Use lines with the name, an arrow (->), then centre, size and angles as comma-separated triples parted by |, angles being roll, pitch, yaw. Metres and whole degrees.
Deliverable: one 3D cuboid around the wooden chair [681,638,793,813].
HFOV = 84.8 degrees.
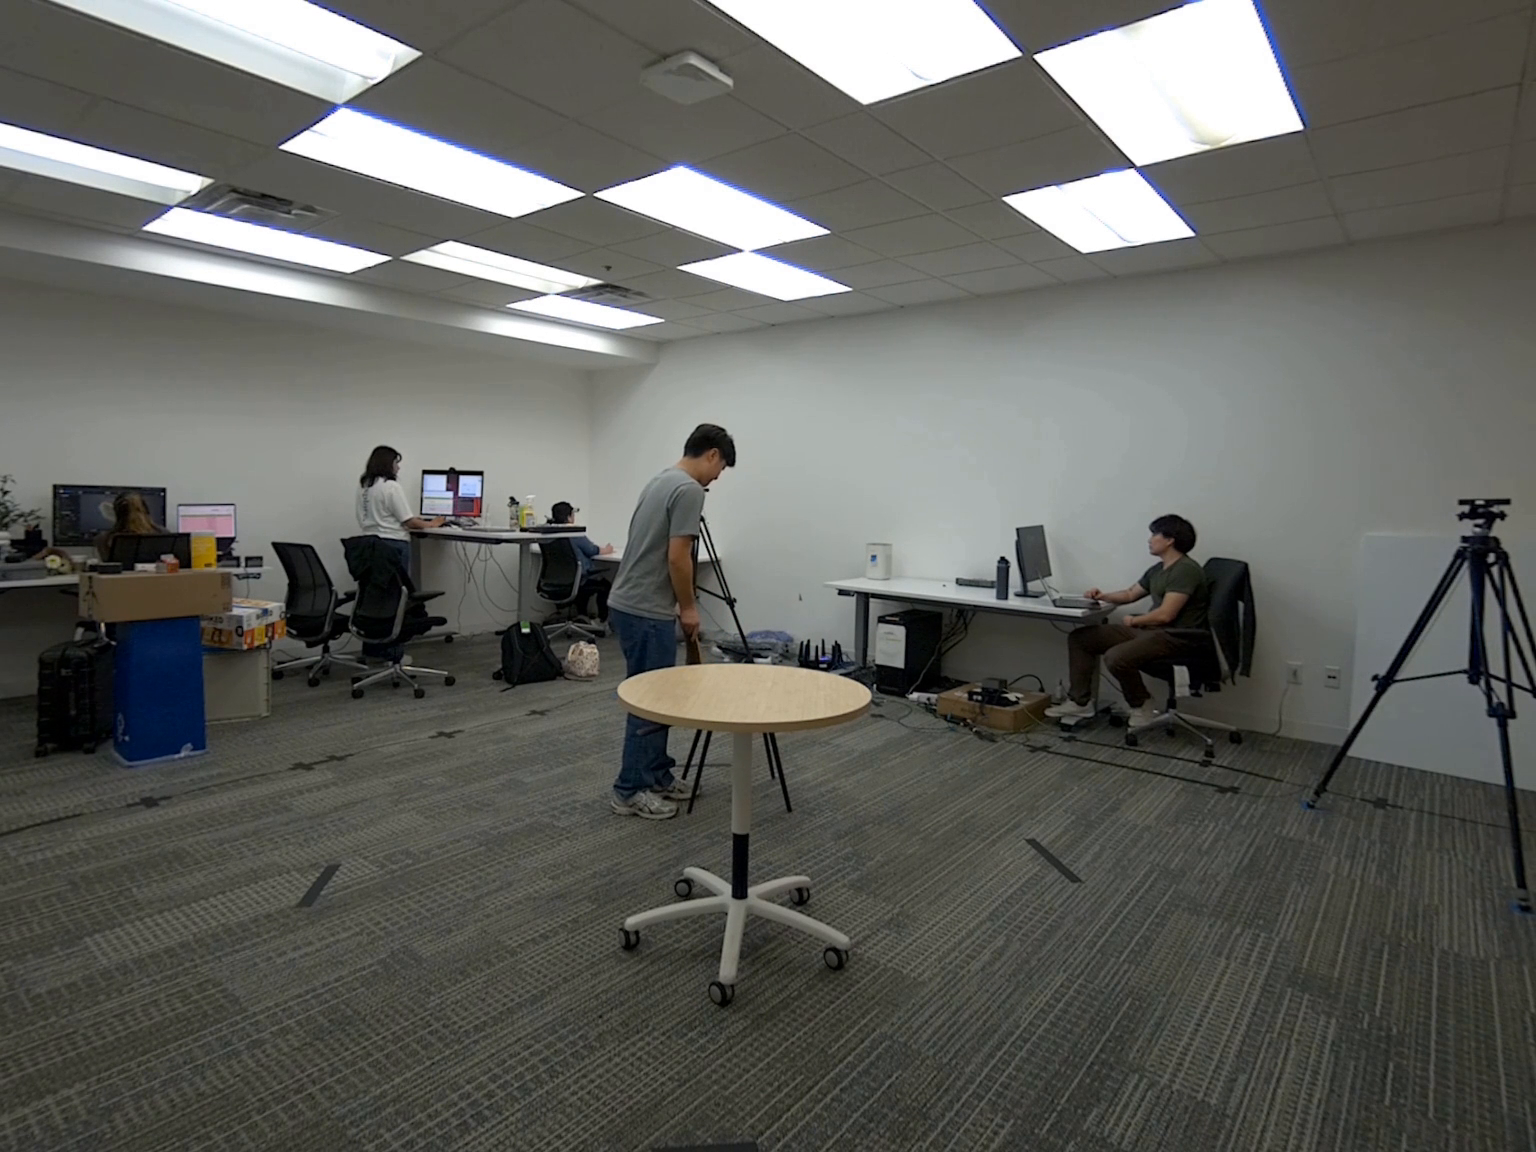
wooden chair -> -0.150, 0.569, 3.843 | 0.520, 0.875, 0.482 | -3, 3, -7
